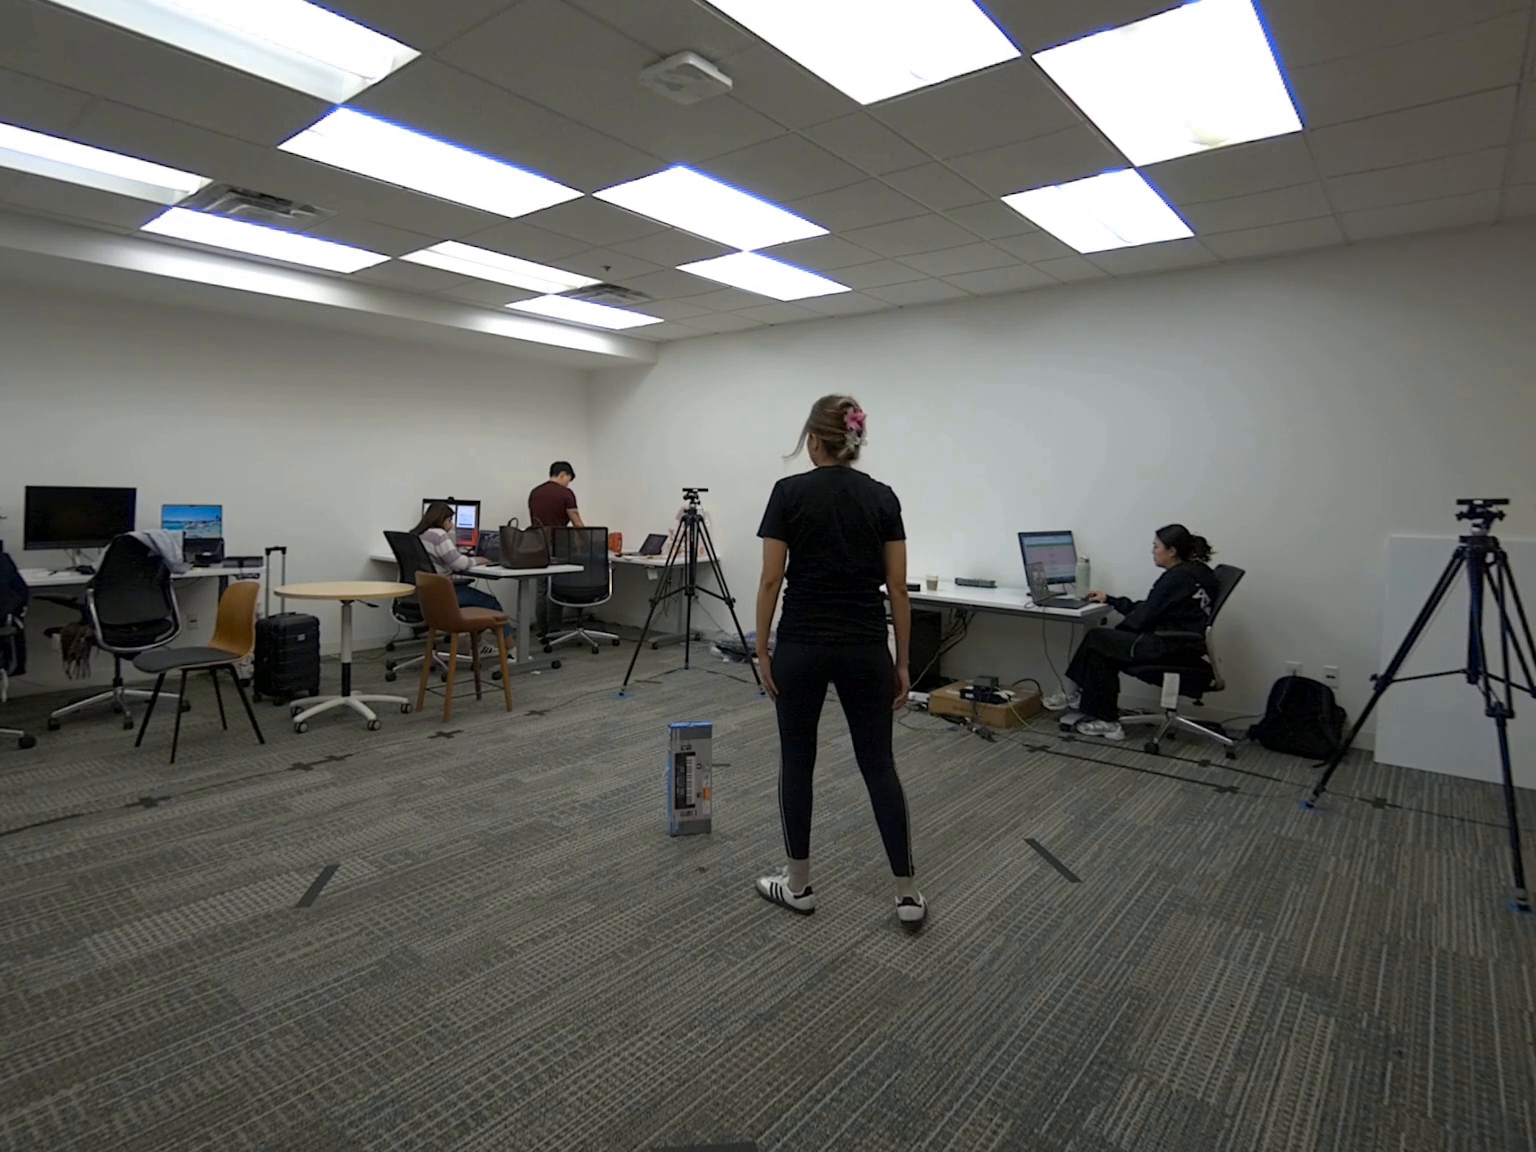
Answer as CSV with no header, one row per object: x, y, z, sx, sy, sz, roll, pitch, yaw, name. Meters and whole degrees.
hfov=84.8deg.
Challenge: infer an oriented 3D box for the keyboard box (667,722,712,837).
-0.327,0.817,3.444,0.173,0.437,0.060,0,0,-16,keyboard box
